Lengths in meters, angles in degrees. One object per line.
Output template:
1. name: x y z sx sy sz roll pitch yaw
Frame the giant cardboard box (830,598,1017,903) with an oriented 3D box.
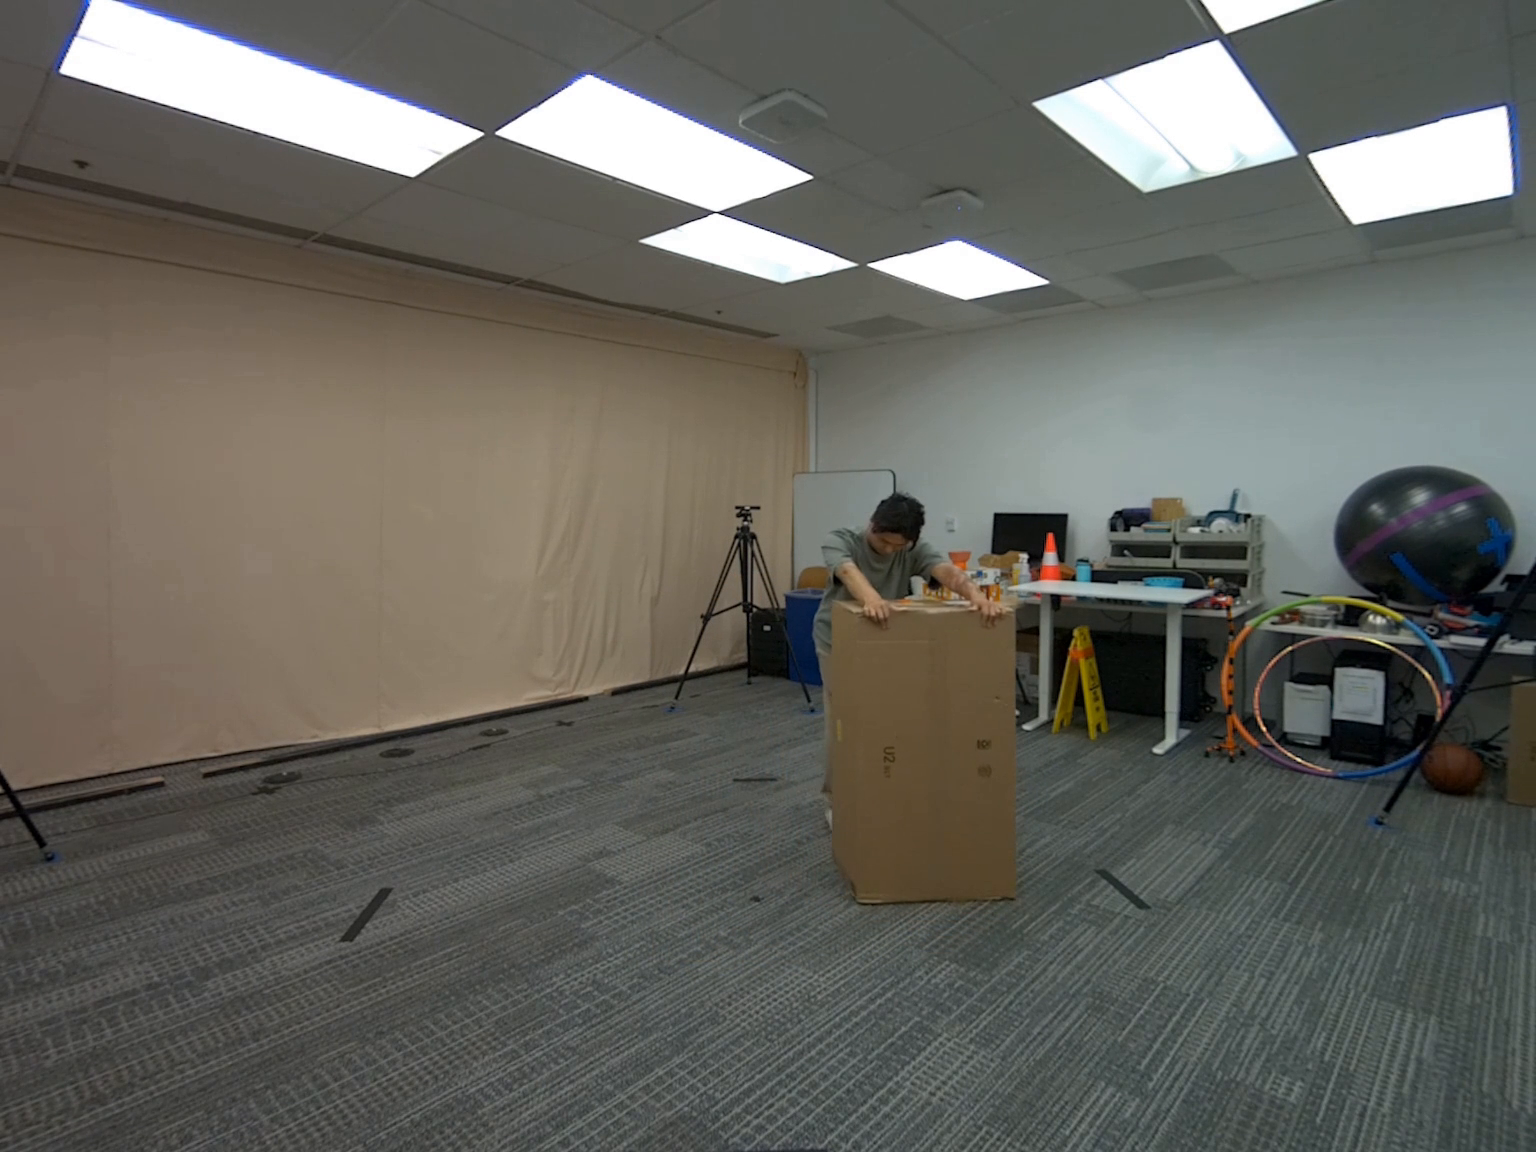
1. giant cardboard box: 0.571 0.617 3.153 0.574 1.024 0.429 0 2 -6
